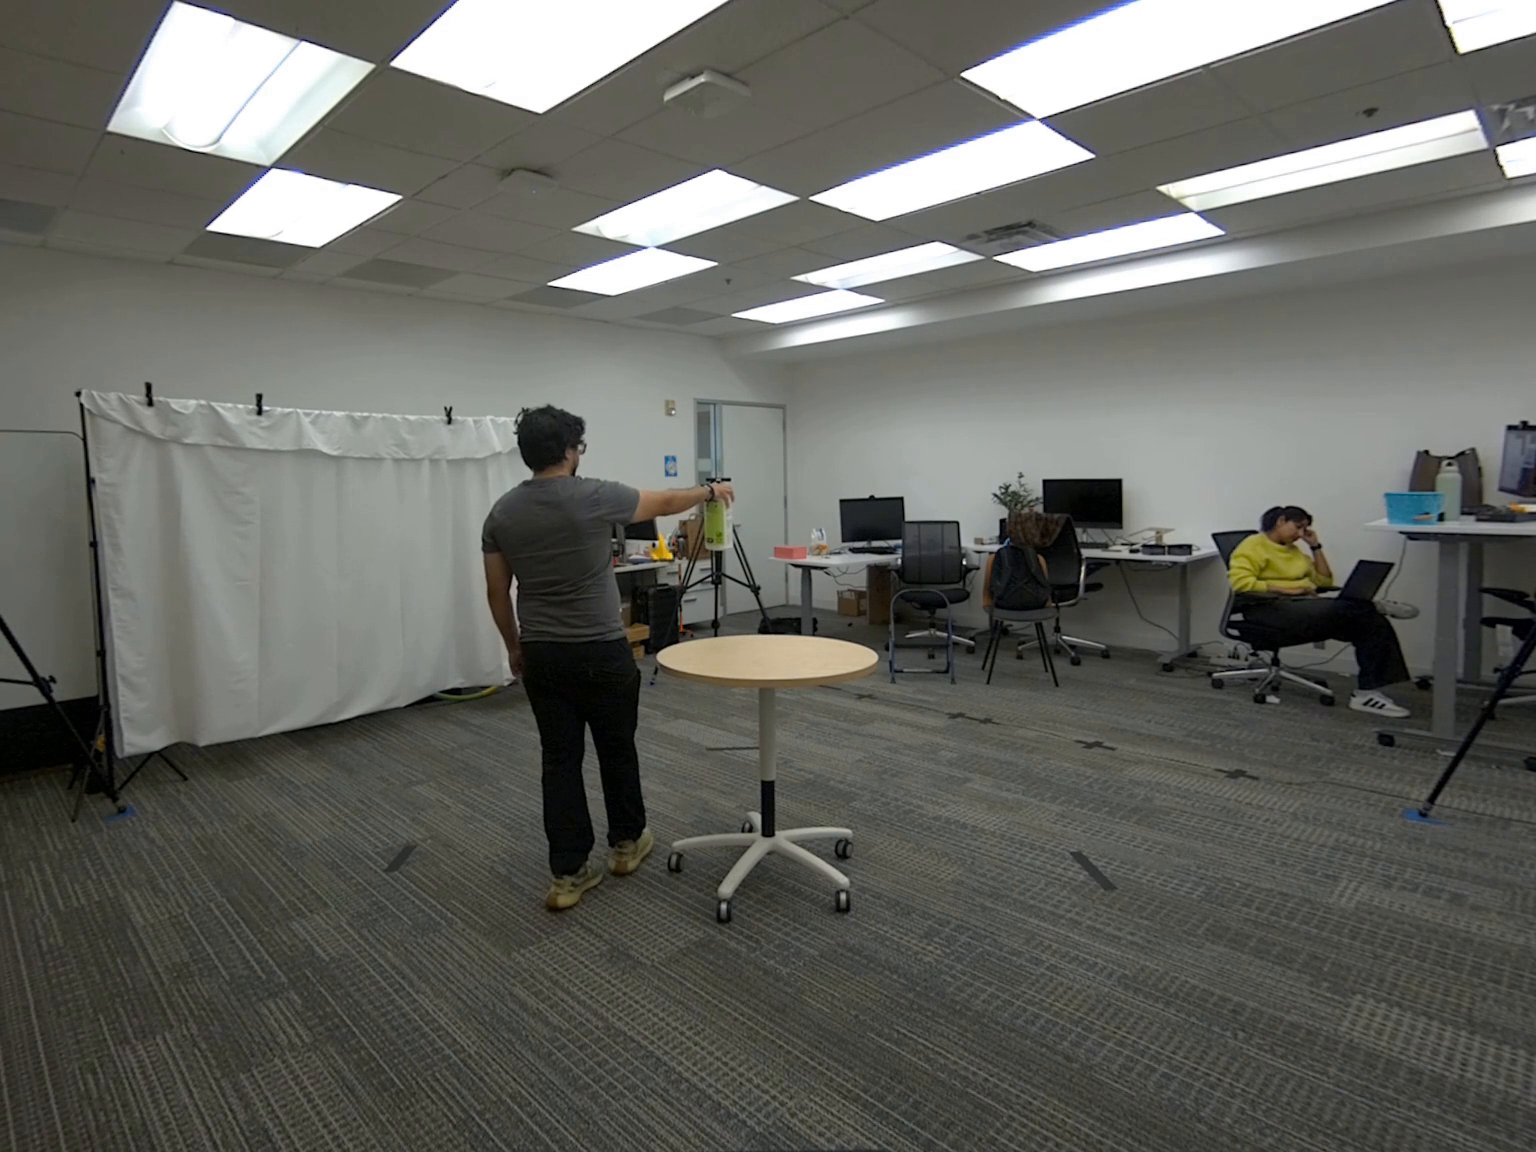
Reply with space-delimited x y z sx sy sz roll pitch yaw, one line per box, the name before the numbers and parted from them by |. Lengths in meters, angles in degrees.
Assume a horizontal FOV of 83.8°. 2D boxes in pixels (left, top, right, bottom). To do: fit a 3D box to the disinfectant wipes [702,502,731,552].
disinfectant wipes | -0.194 -0.211 3.312 0.118 0.216 0.119 0 9 -2
